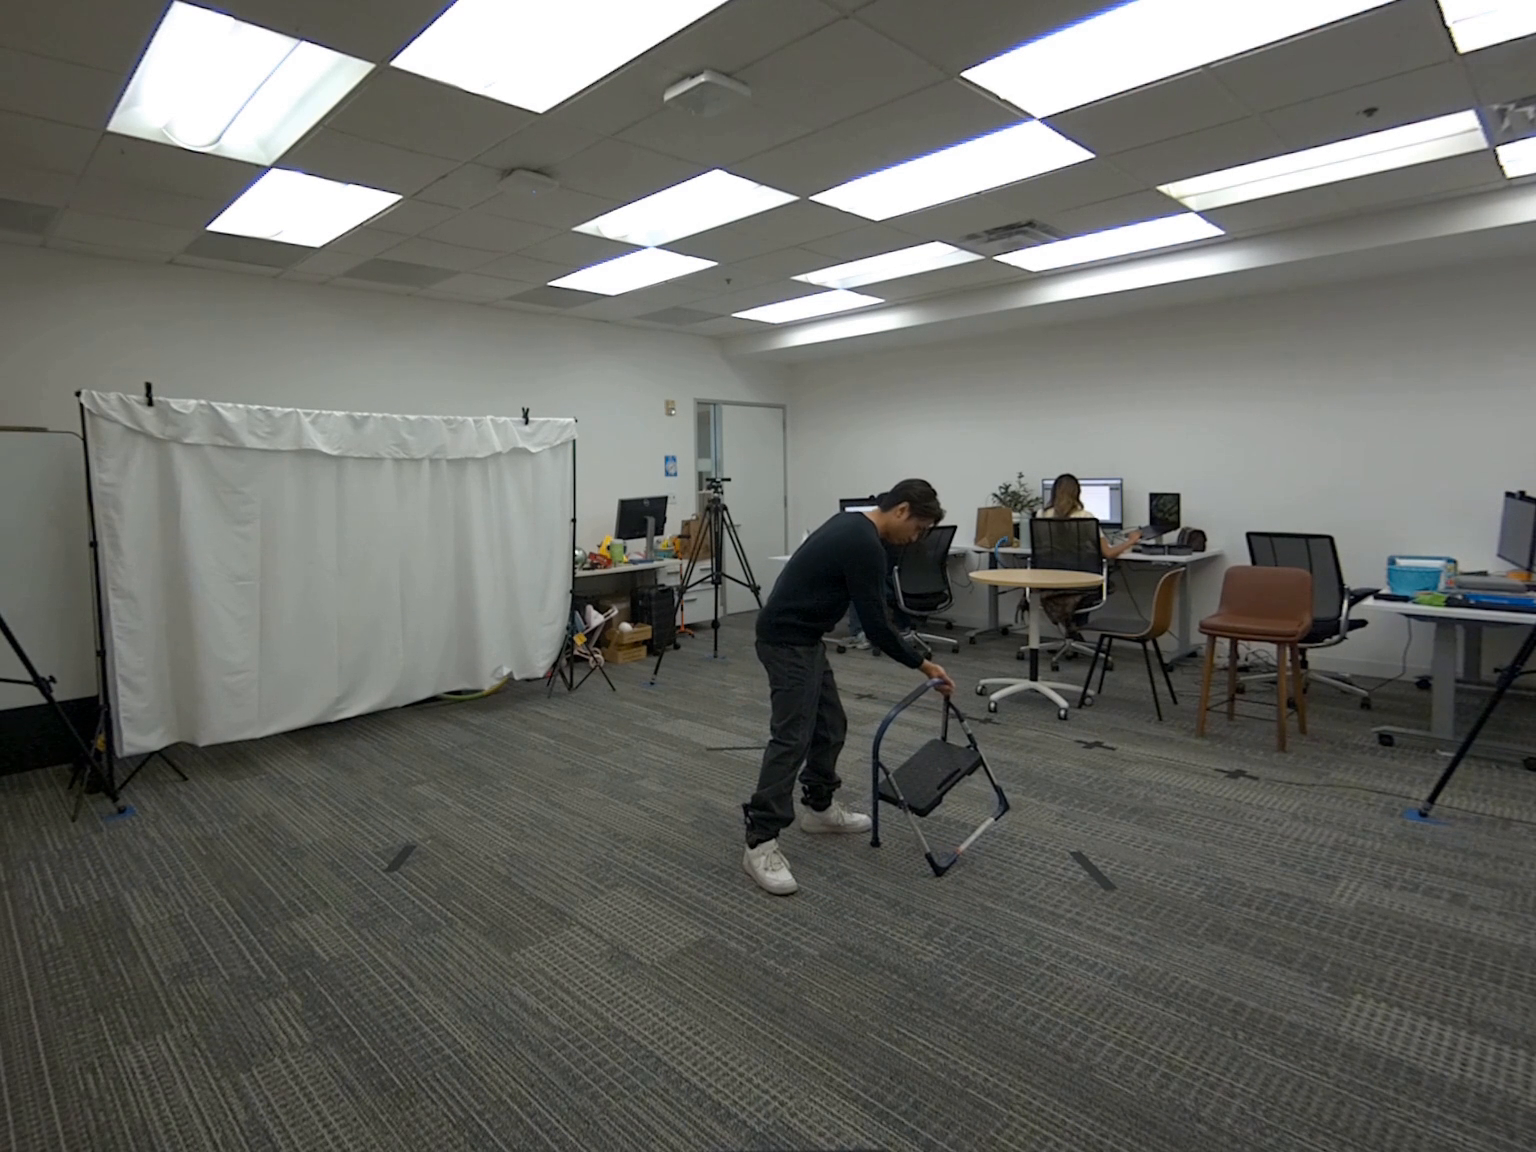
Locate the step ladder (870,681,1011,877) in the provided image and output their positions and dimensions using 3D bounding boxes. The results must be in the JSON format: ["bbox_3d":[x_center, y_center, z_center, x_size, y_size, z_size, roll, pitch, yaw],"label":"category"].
[{"bbox_3d":[0.552,0.670,3.115,0.426,0.594,0.359,-31,20,-31],"label":"step ladder"}]
